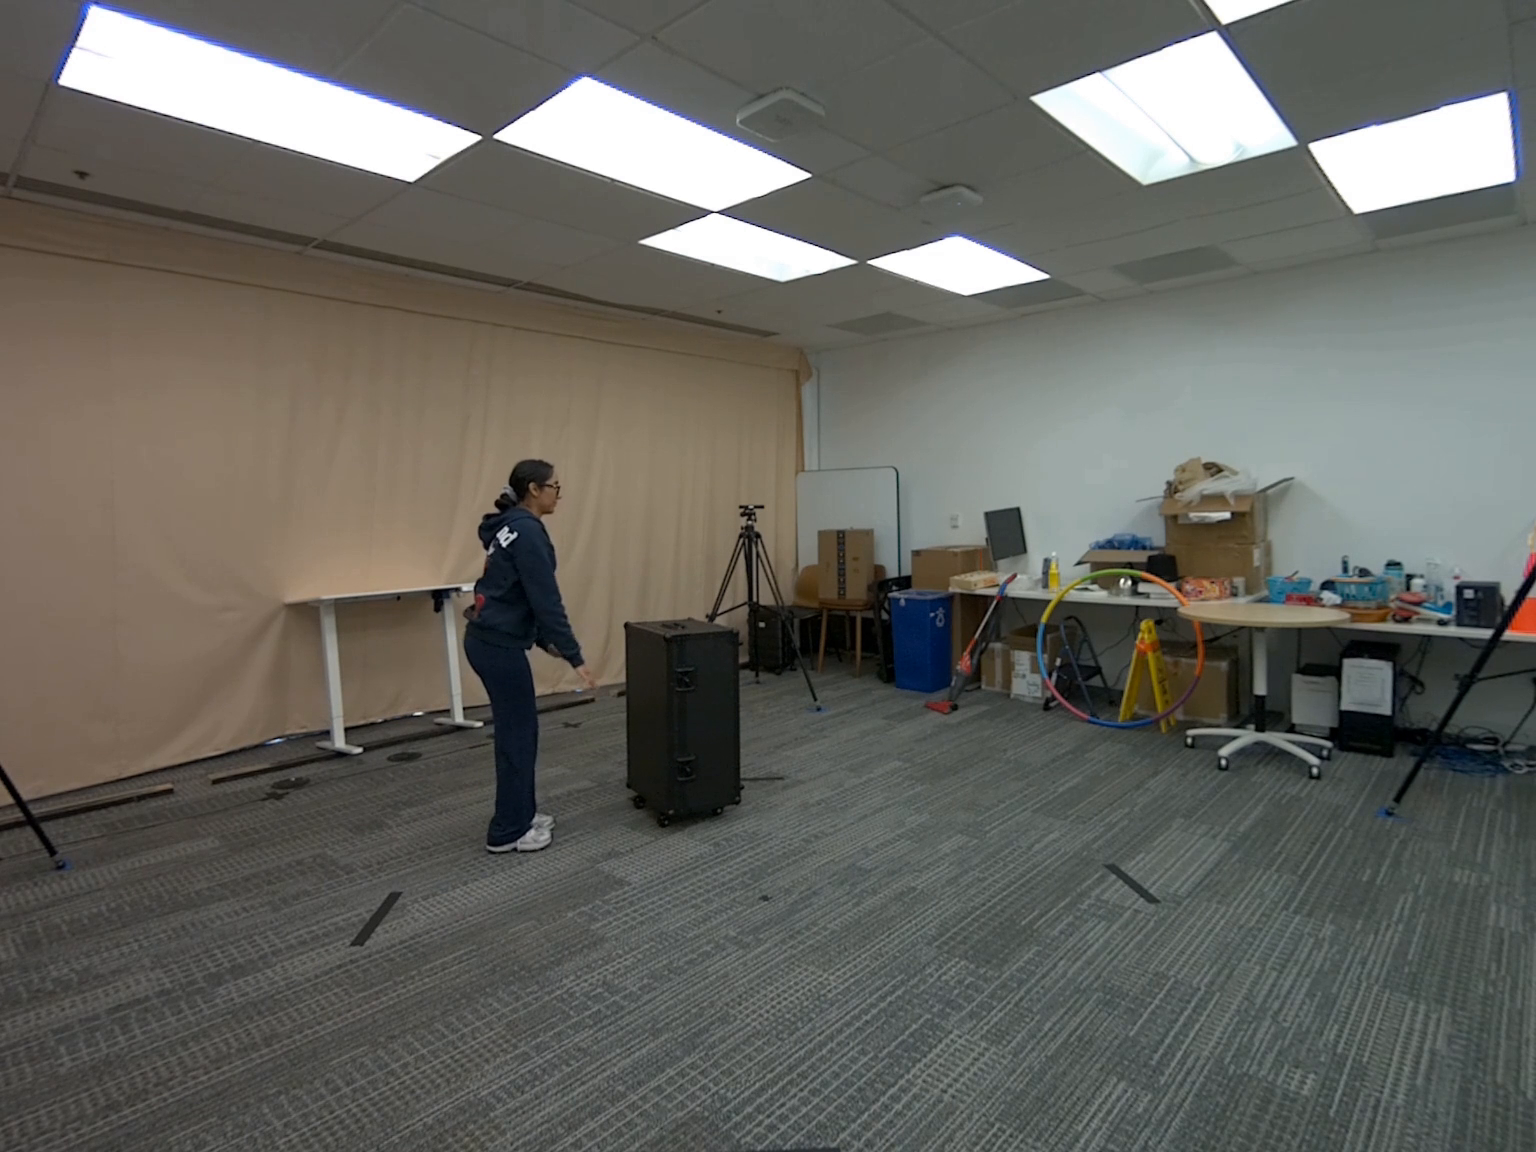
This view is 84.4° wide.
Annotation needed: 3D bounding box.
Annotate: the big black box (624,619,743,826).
[{"bbox_3d":[-0.394,0.653,3.870,0.386,0.860,0.536,-1,3,-29],"label":"big black box"}]
